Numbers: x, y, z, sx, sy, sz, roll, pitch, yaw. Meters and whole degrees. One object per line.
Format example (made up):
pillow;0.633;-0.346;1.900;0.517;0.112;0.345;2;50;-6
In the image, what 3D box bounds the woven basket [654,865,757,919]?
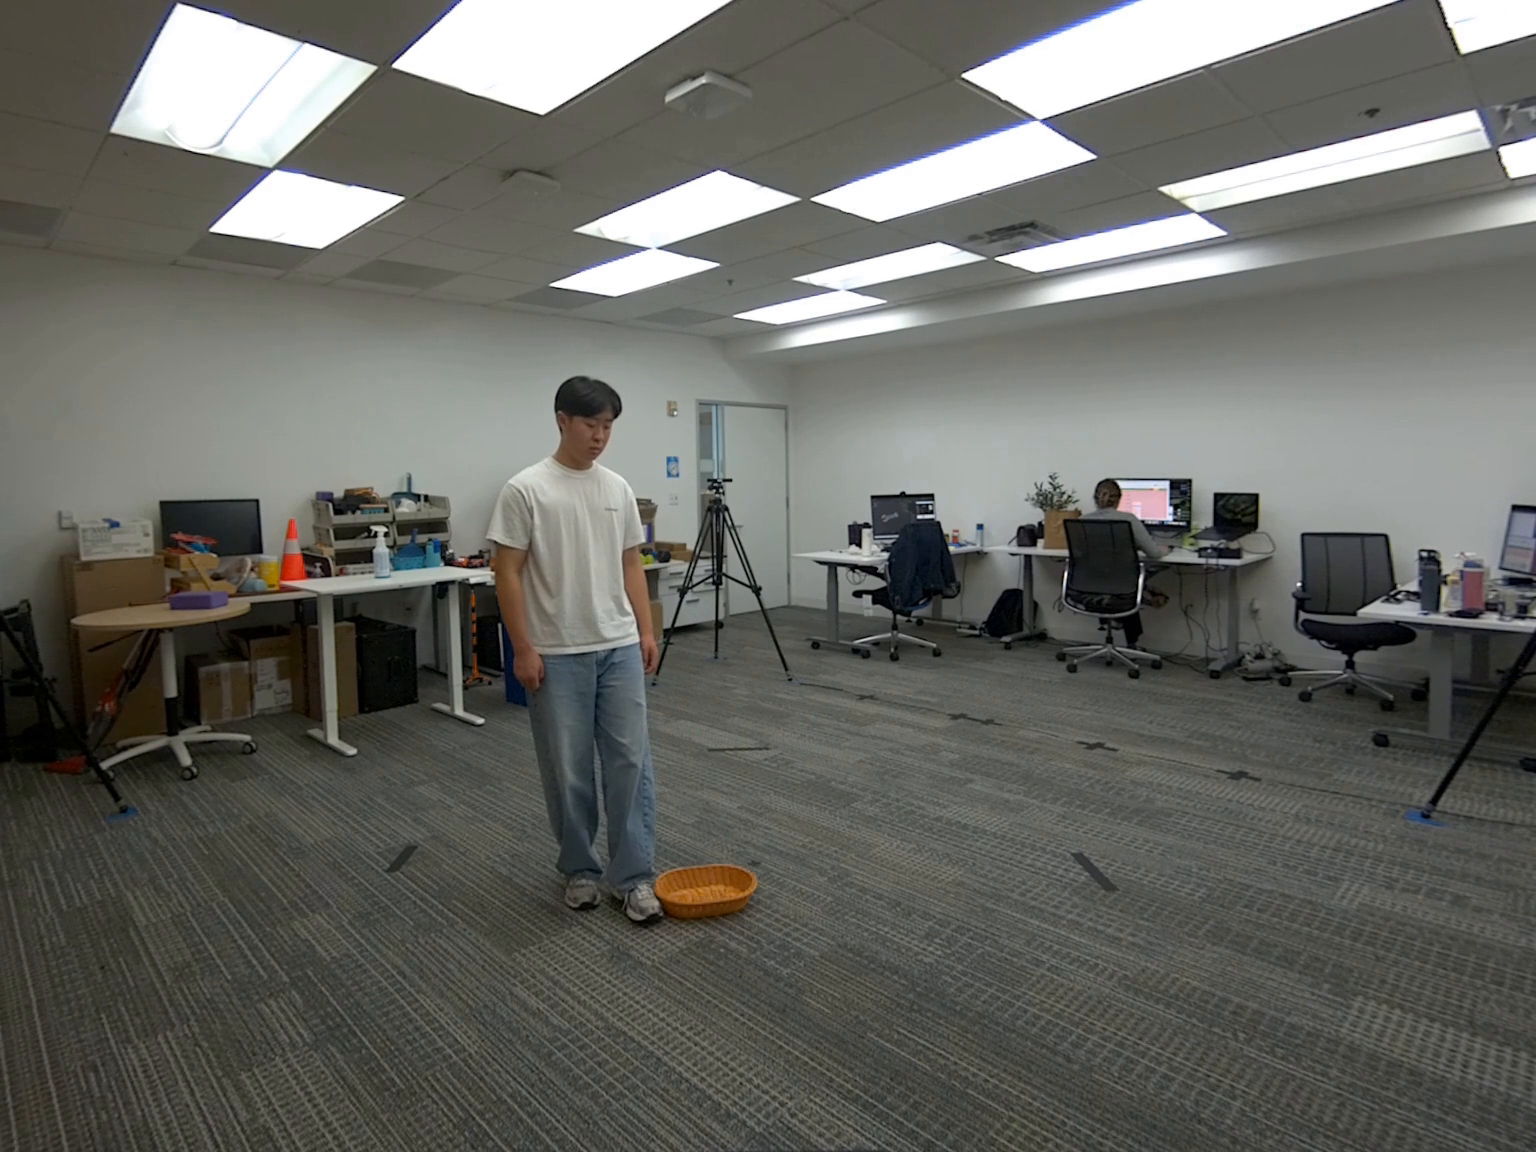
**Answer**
woven basket;-0.185;1.035;2.823;0.346;0.073;0.256;-2;7;-13
